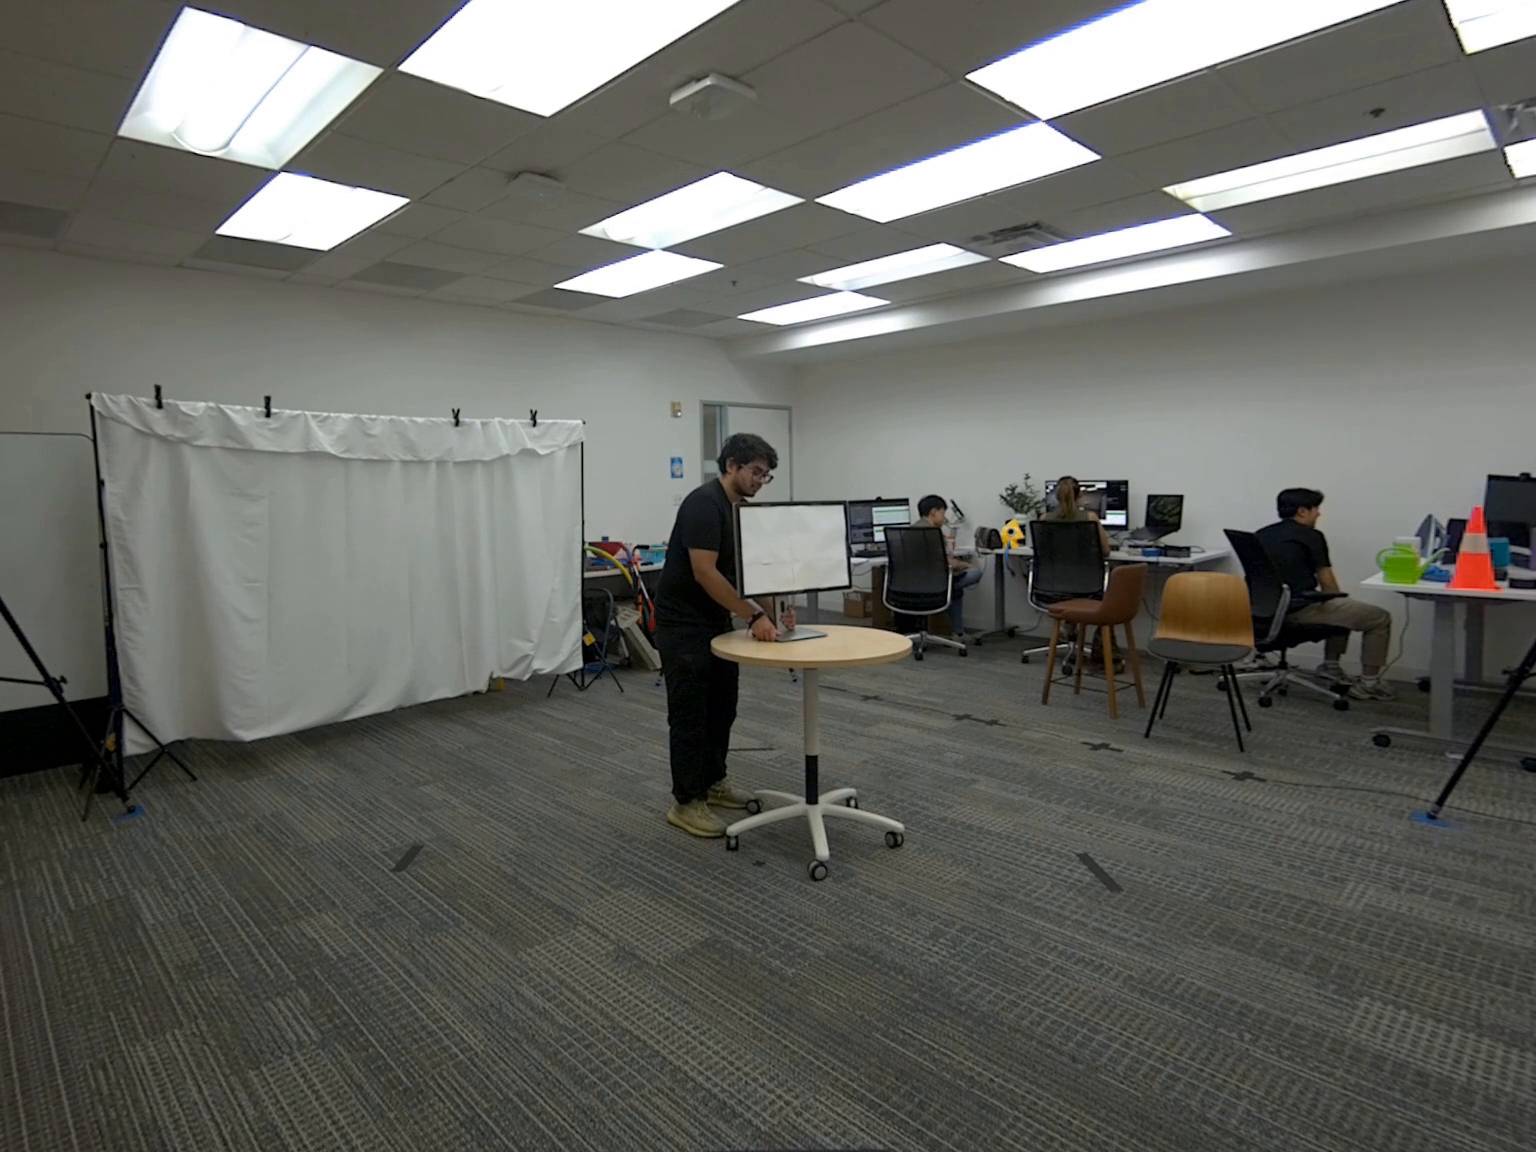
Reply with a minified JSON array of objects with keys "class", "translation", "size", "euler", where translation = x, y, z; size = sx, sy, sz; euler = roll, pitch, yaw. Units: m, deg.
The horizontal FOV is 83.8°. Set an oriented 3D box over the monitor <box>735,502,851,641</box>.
[{"class":"monitor","translation":[0.068,-0.026,3.407],"size":[0.551,0.553,0.216],"euler":[-4,3,-34]}]
